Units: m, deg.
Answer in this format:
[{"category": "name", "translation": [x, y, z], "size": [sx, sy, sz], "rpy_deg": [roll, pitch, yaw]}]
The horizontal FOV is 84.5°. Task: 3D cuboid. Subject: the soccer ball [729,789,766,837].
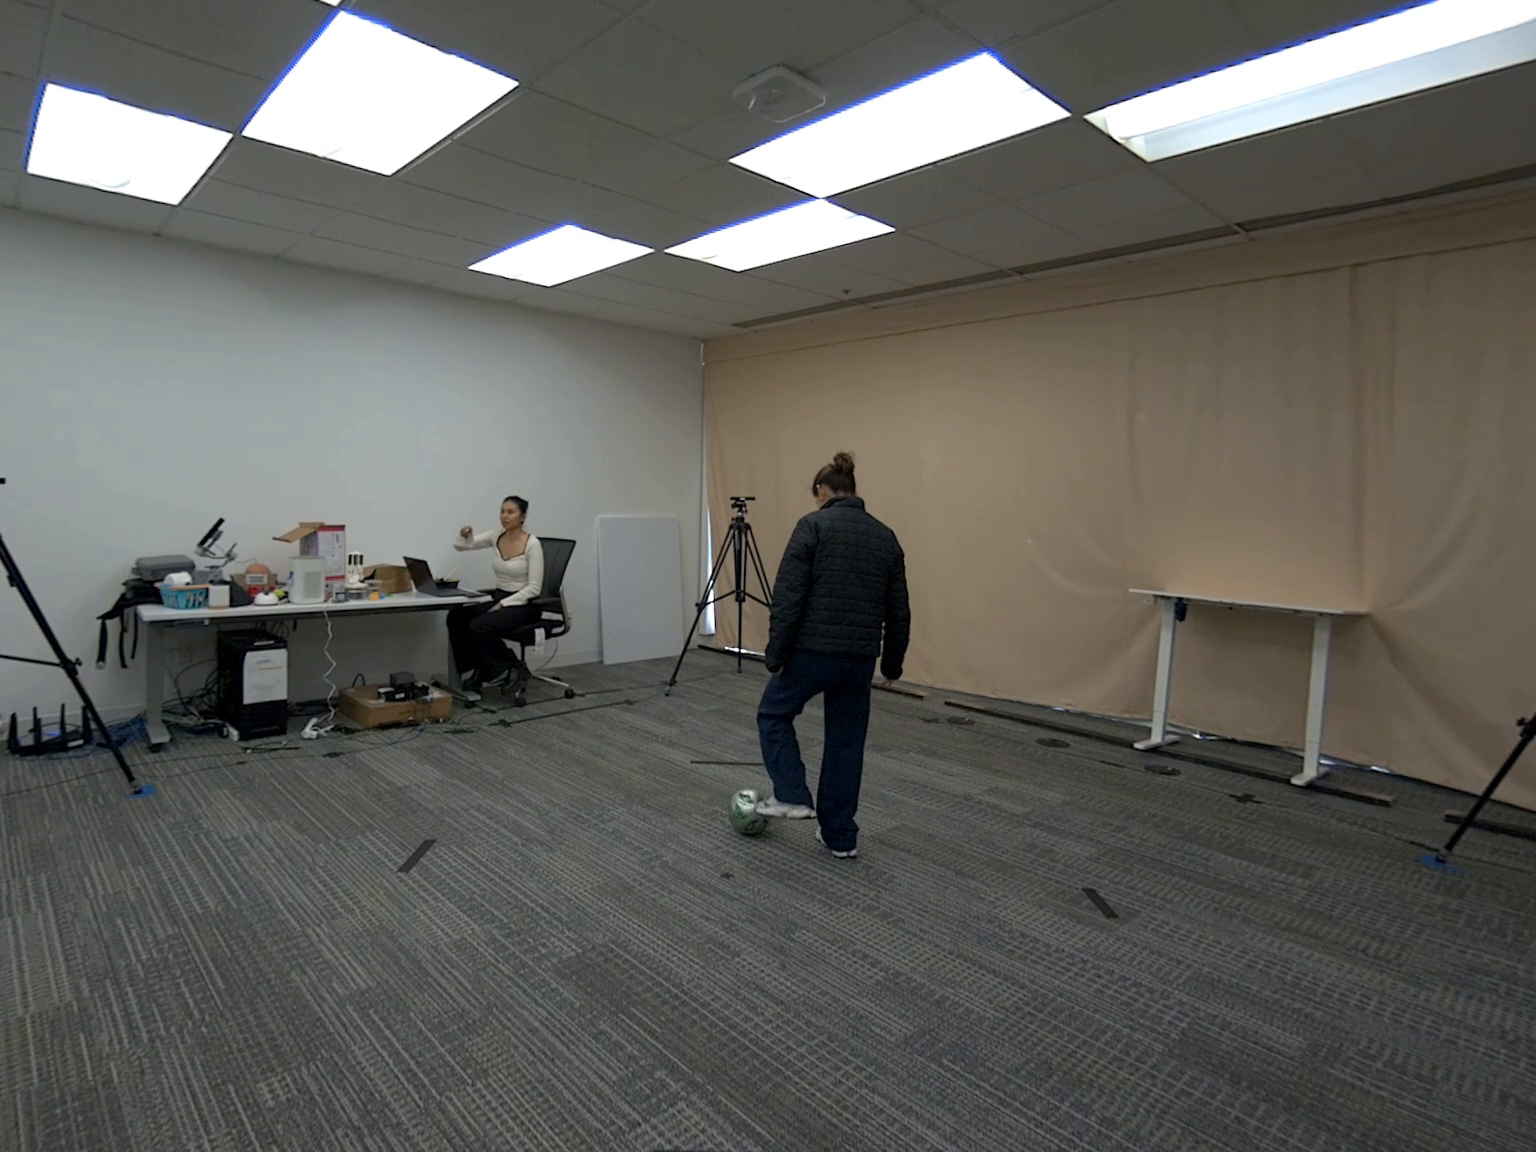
[{"category": "soccer ball", "translation": [-0.080, 0.978, 3.512], "size": [0.187, 0.187, 0.188], "rpy_deg": [1, 4, -1]}]
